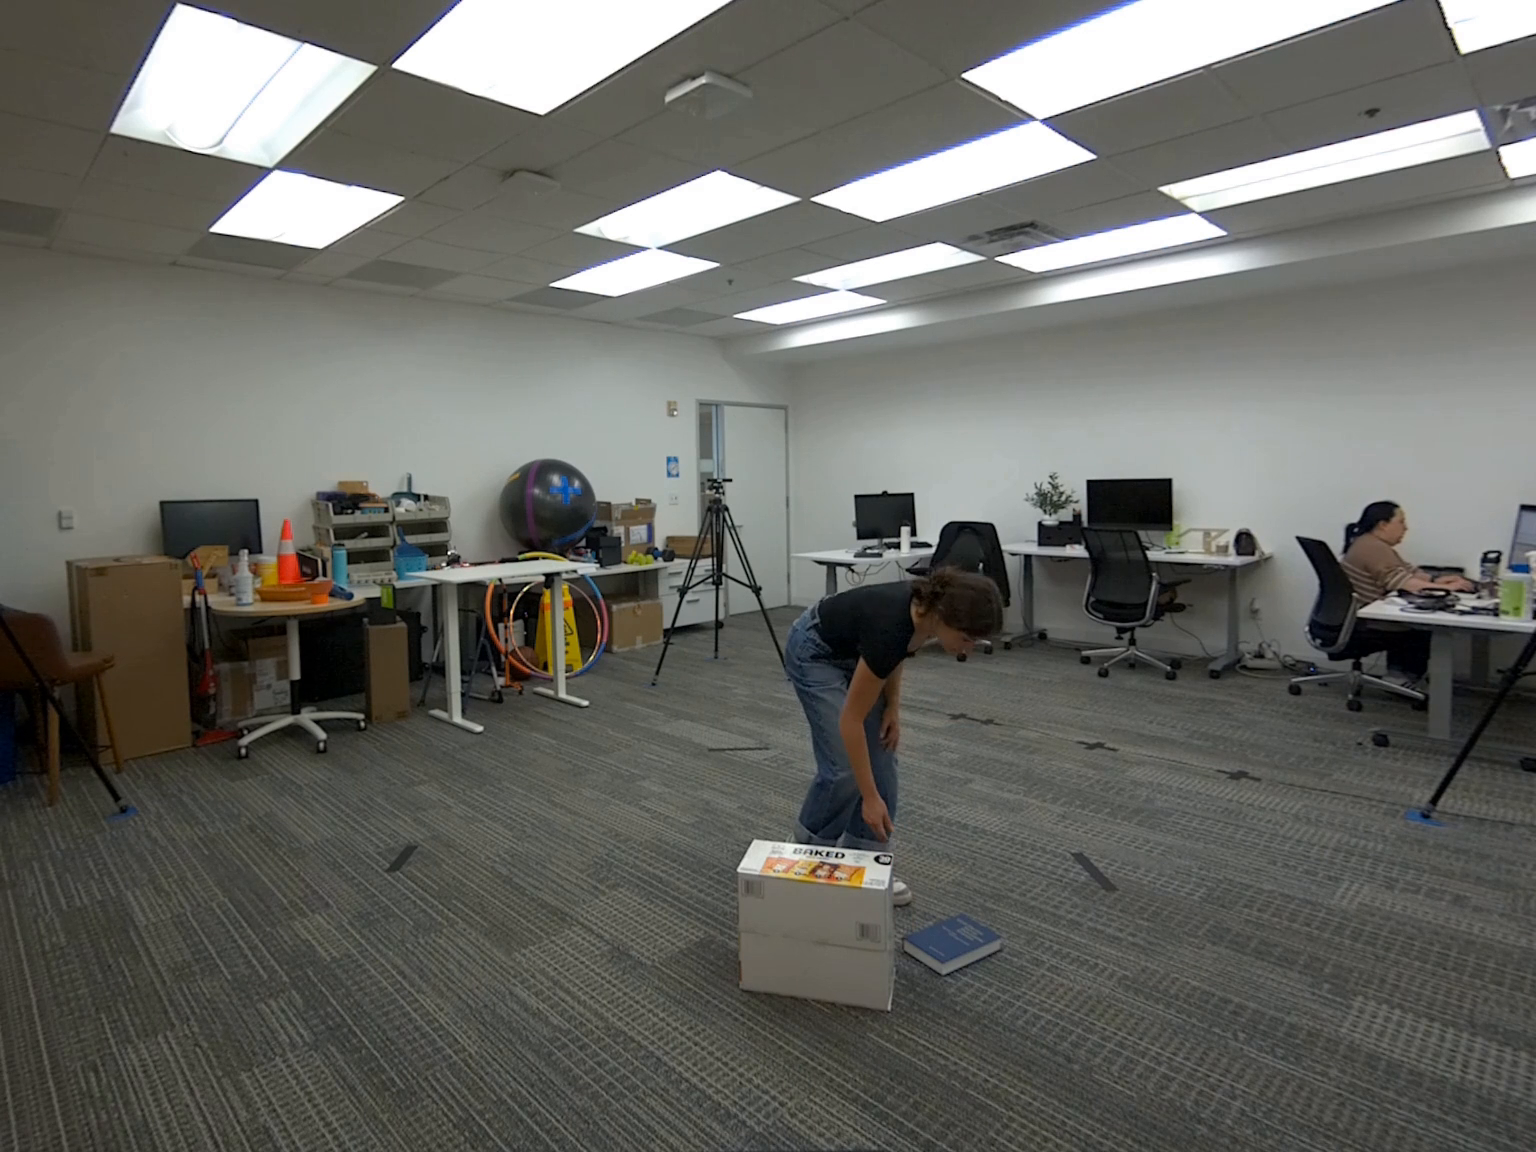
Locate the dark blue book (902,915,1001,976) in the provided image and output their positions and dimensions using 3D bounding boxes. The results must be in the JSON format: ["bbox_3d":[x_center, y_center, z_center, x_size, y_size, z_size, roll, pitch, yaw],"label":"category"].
[{"bbox_3d":[0.551,1.085,2.507,0.239,0.045,0.168,-6,8,-33],"label":"dark blue book"}]
